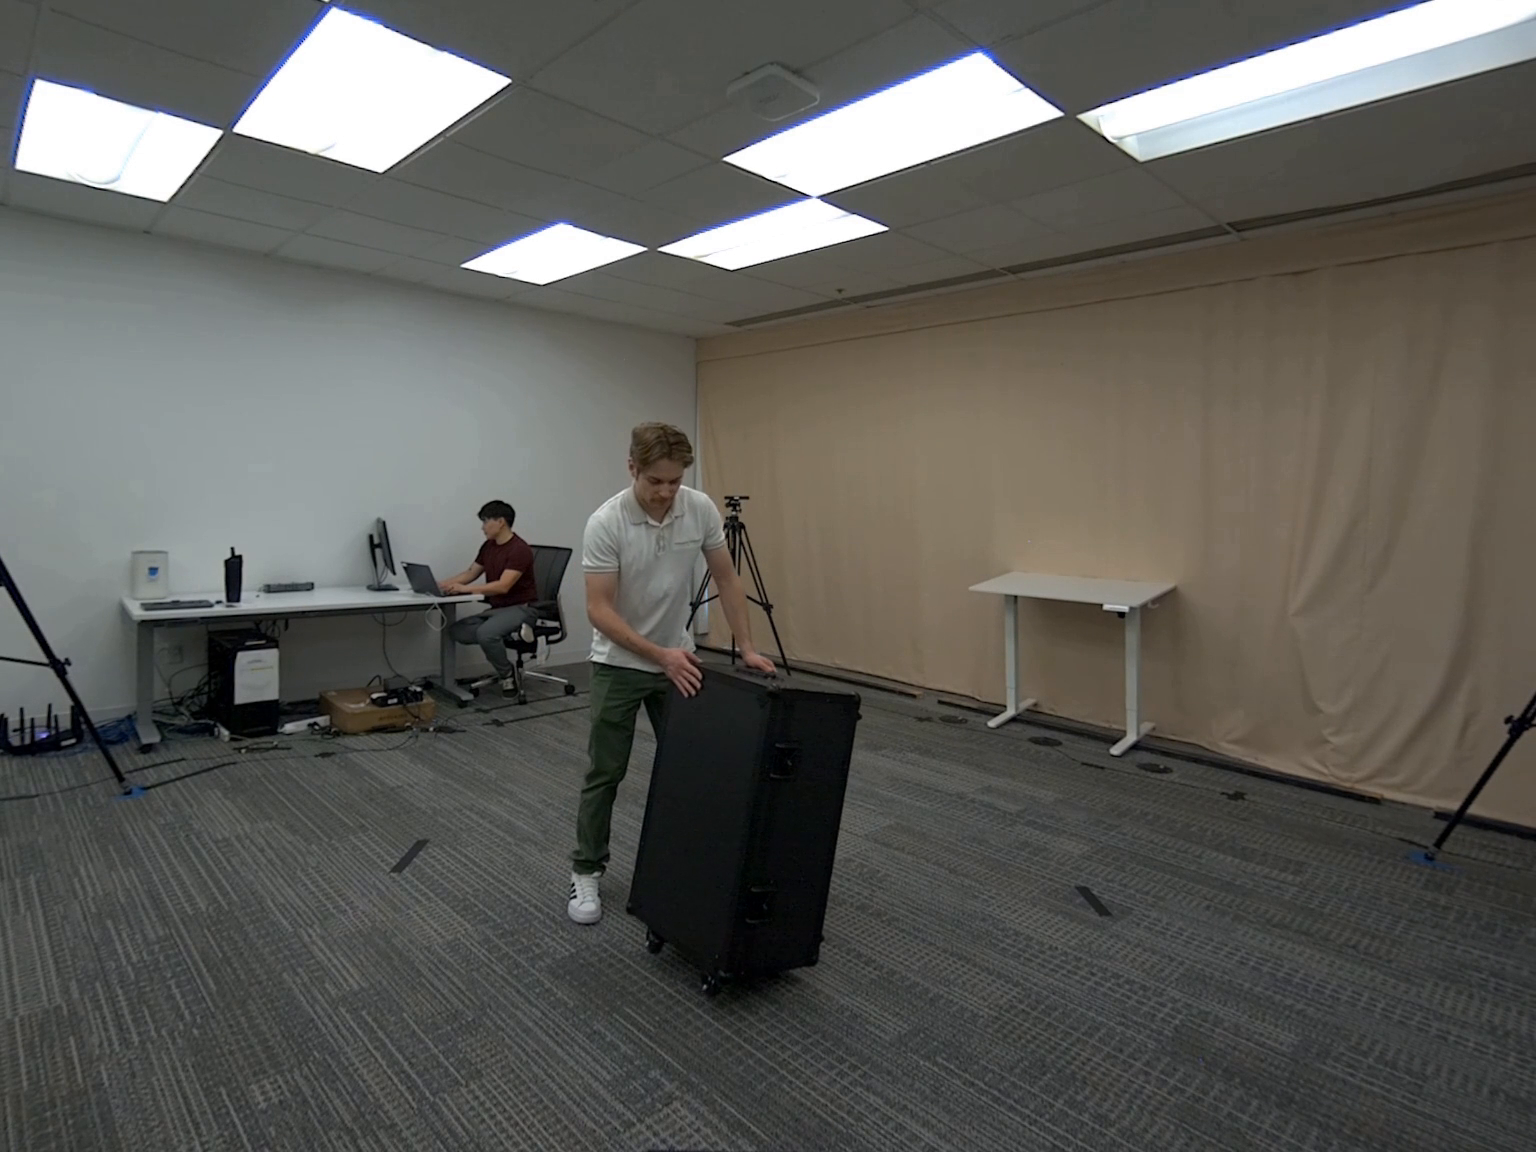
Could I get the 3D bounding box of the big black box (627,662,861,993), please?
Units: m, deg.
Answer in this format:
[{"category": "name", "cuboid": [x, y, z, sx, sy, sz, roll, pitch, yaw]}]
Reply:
[{"category": "big black box", "cuboid": [-0.081, 0.723, 2.513, 0.385, 0.863, 0.534, 12, -4, -40]}]
